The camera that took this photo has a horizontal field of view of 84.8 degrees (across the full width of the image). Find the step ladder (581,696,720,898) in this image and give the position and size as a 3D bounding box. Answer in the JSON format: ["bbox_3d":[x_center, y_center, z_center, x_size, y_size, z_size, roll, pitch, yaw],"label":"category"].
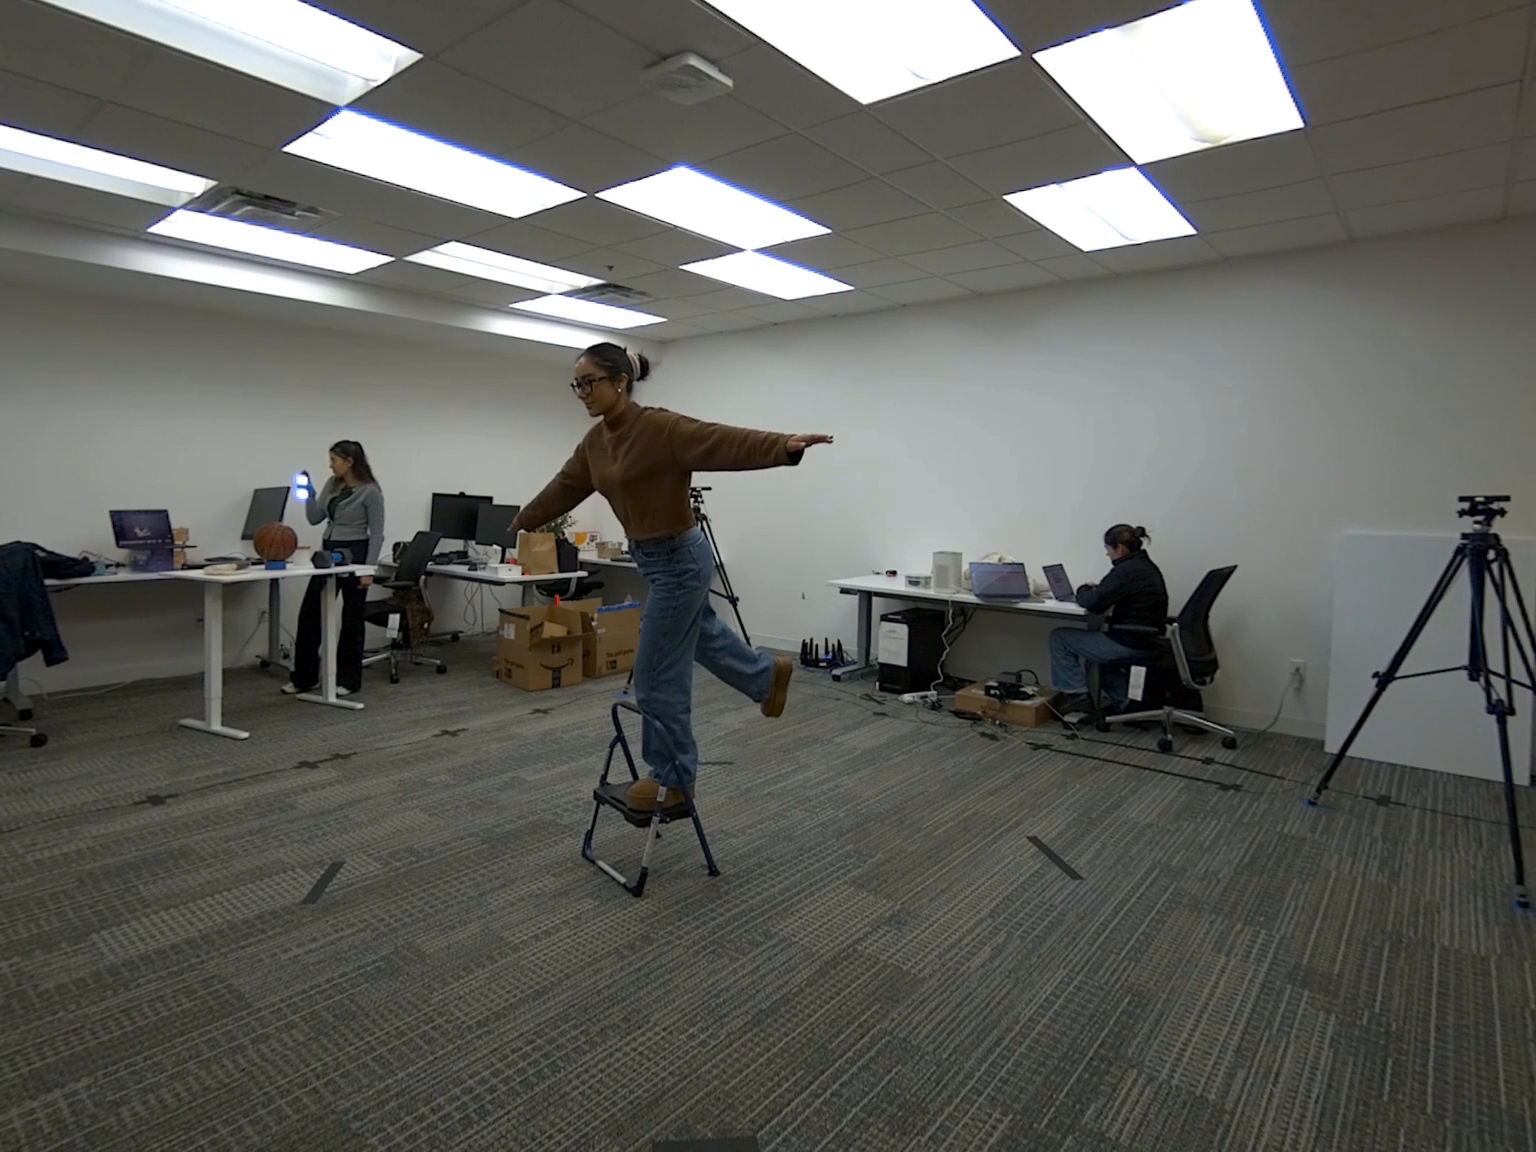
[{"bbox_3d":[-0.446,0.760,3.118,0.339,0.604,0.445,-2,5,-39],"label":"step ladder"}]
